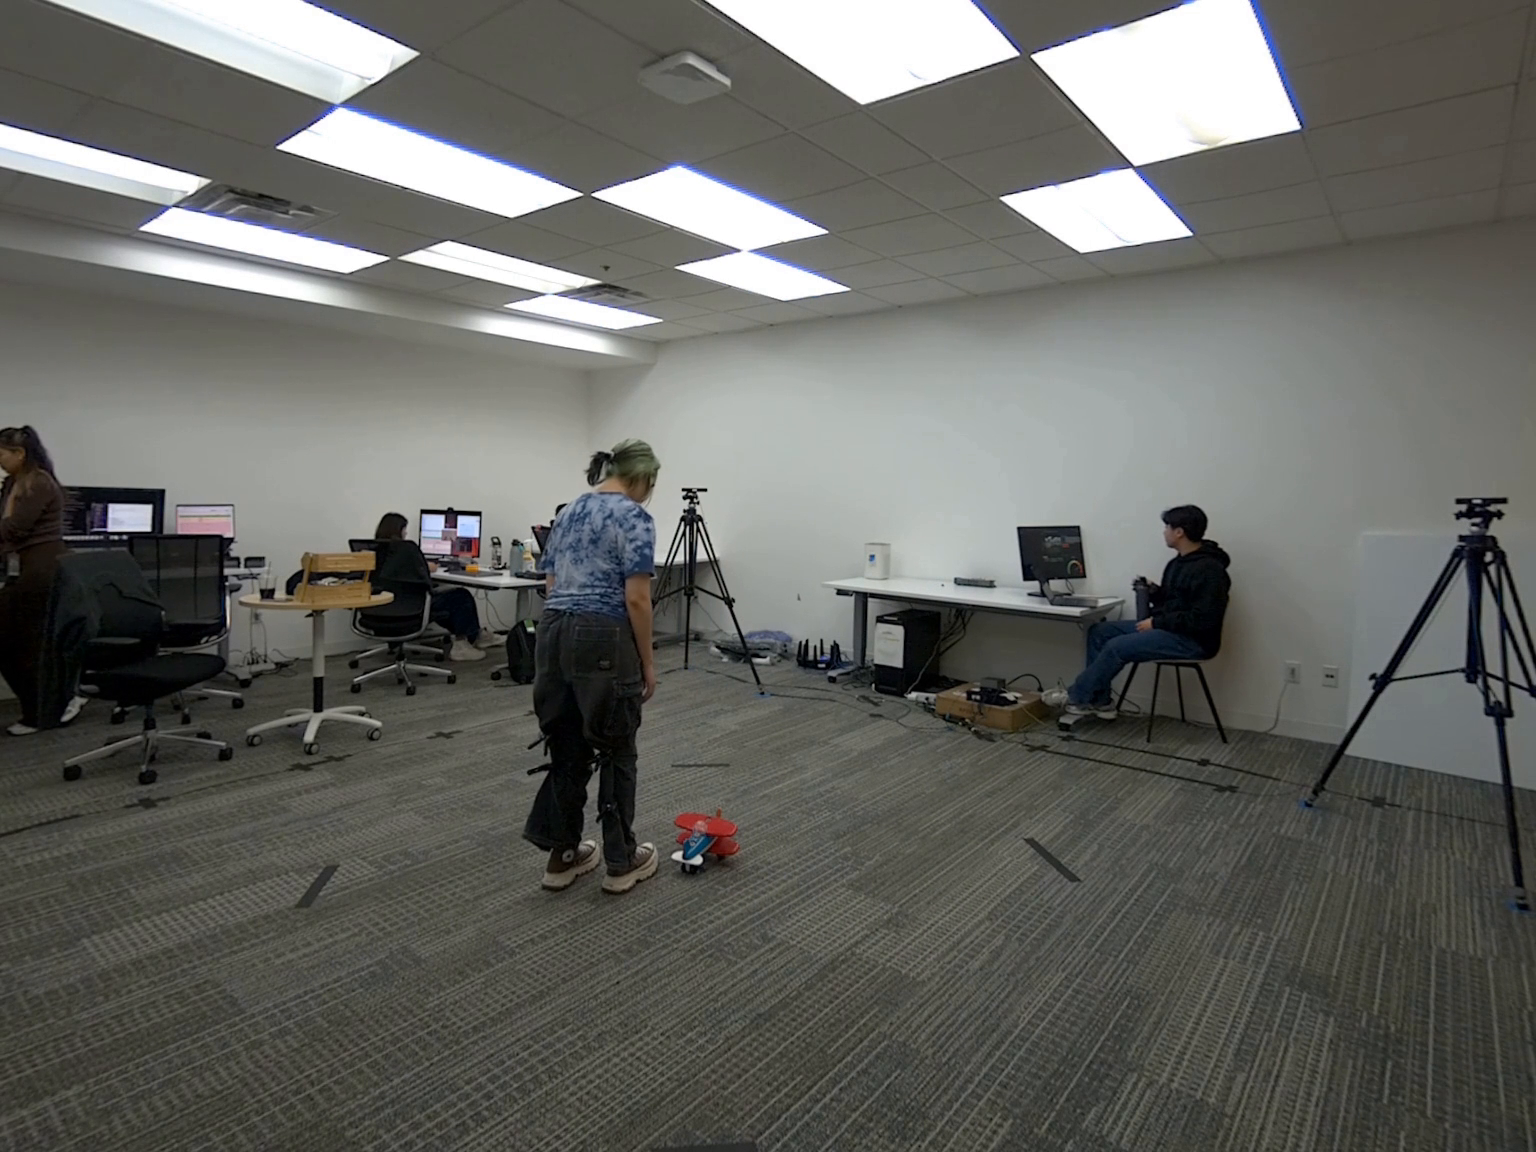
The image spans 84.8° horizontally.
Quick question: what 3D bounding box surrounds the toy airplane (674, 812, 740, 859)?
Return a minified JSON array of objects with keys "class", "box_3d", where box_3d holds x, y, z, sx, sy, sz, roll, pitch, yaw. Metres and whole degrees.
[{"class":"toy airplane","box_3d":[-0.236,0.990,3.149,0.251,0.156,0.260,1,3,-2]}]
